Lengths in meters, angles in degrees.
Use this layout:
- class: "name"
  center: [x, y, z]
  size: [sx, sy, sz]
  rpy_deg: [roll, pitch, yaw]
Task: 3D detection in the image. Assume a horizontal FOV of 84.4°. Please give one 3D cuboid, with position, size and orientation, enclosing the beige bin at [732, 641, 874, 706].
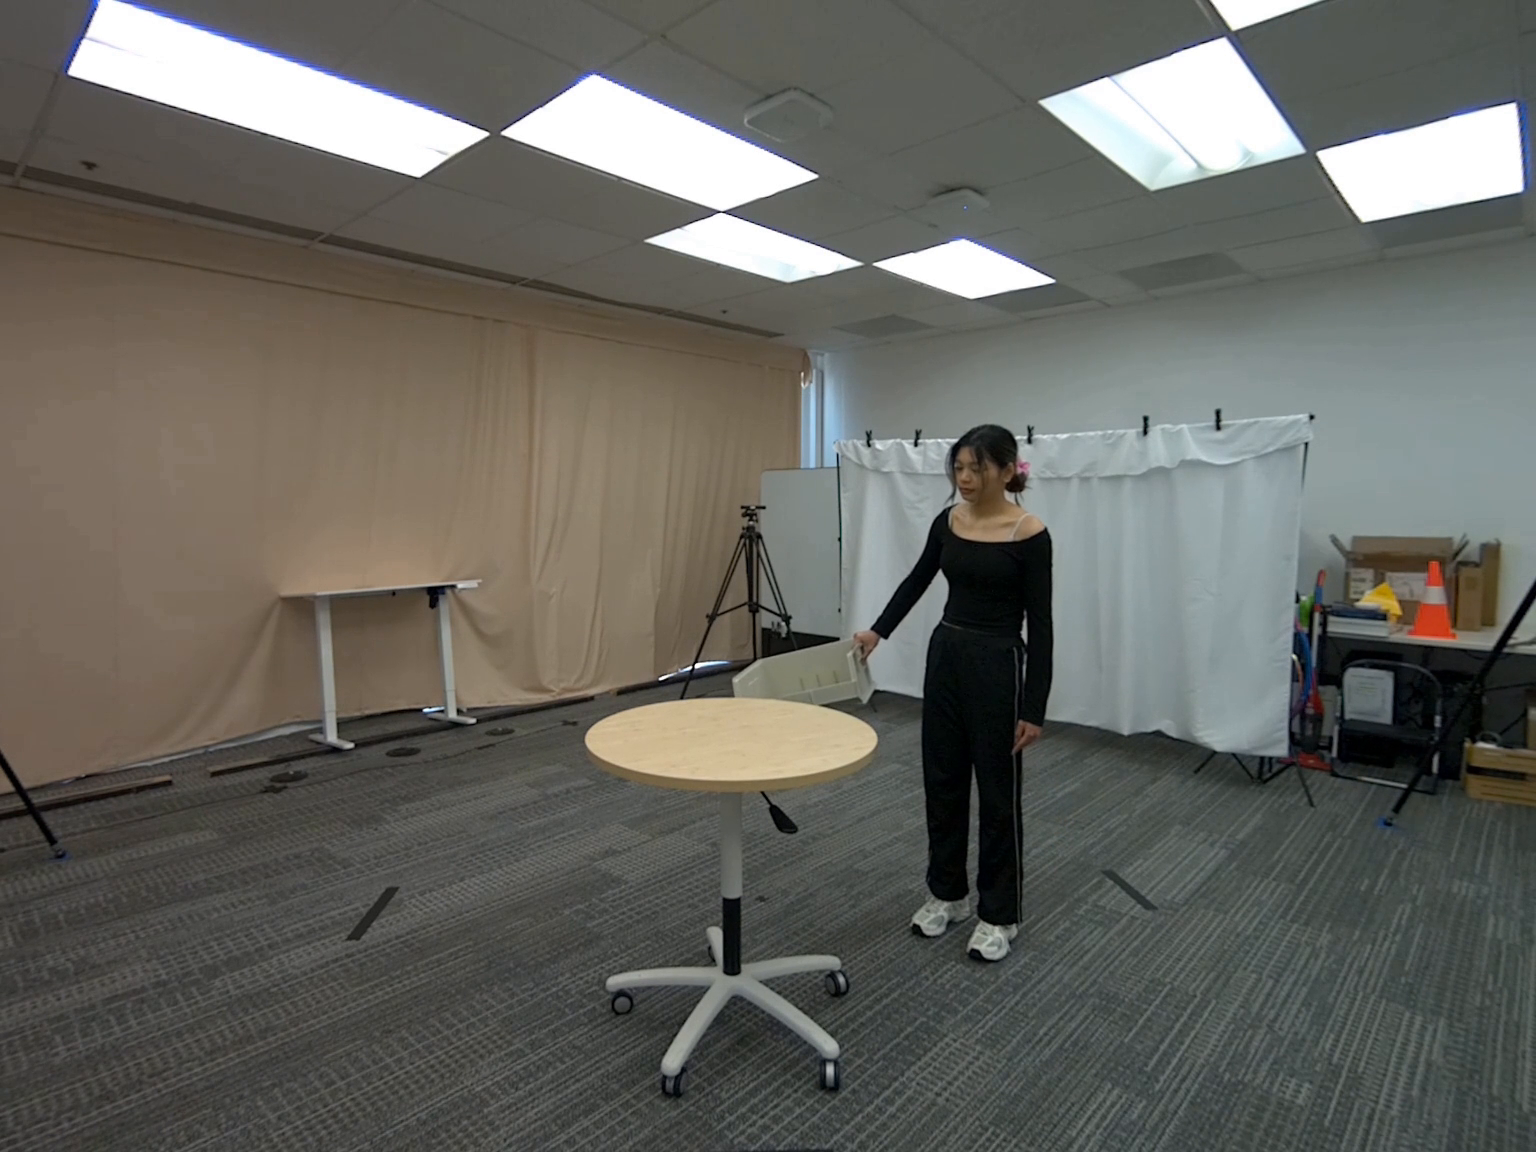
- class: "beige bin"
  center: [0.134, 0.372, 2.935]
  size: [0.428, 0.189, 0.371]
  rpy_deg: [-14, -1, 16]
